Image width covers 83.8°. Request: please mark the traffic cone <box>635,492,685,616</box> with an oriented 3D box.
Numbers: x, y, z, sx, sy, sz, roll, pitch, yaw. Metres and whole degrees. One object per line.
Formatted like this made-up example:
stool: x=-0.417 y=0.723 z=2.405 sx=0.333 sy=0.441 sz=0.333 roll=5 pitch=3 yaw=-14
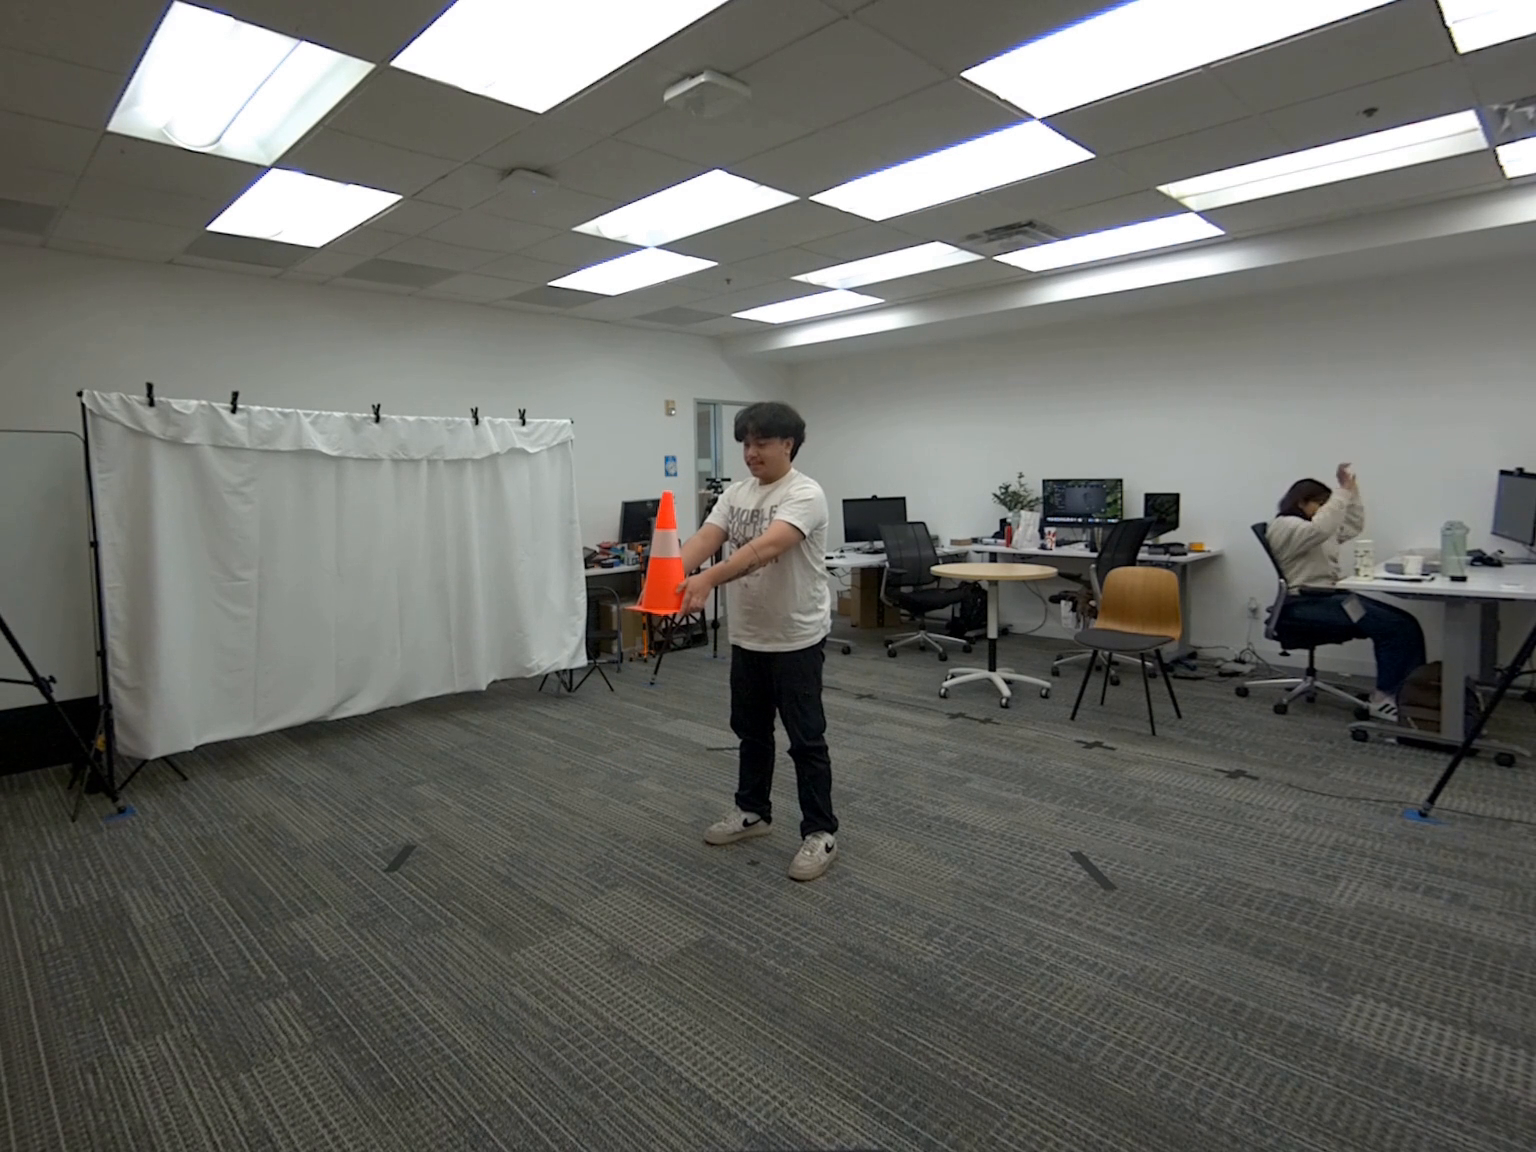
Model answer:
traffic cone: x=-0.329 y=-0.085 z=2.771 sx=0.210 sy=0.383 sz=0.198 roll=2 pitch=2 yaw=29
